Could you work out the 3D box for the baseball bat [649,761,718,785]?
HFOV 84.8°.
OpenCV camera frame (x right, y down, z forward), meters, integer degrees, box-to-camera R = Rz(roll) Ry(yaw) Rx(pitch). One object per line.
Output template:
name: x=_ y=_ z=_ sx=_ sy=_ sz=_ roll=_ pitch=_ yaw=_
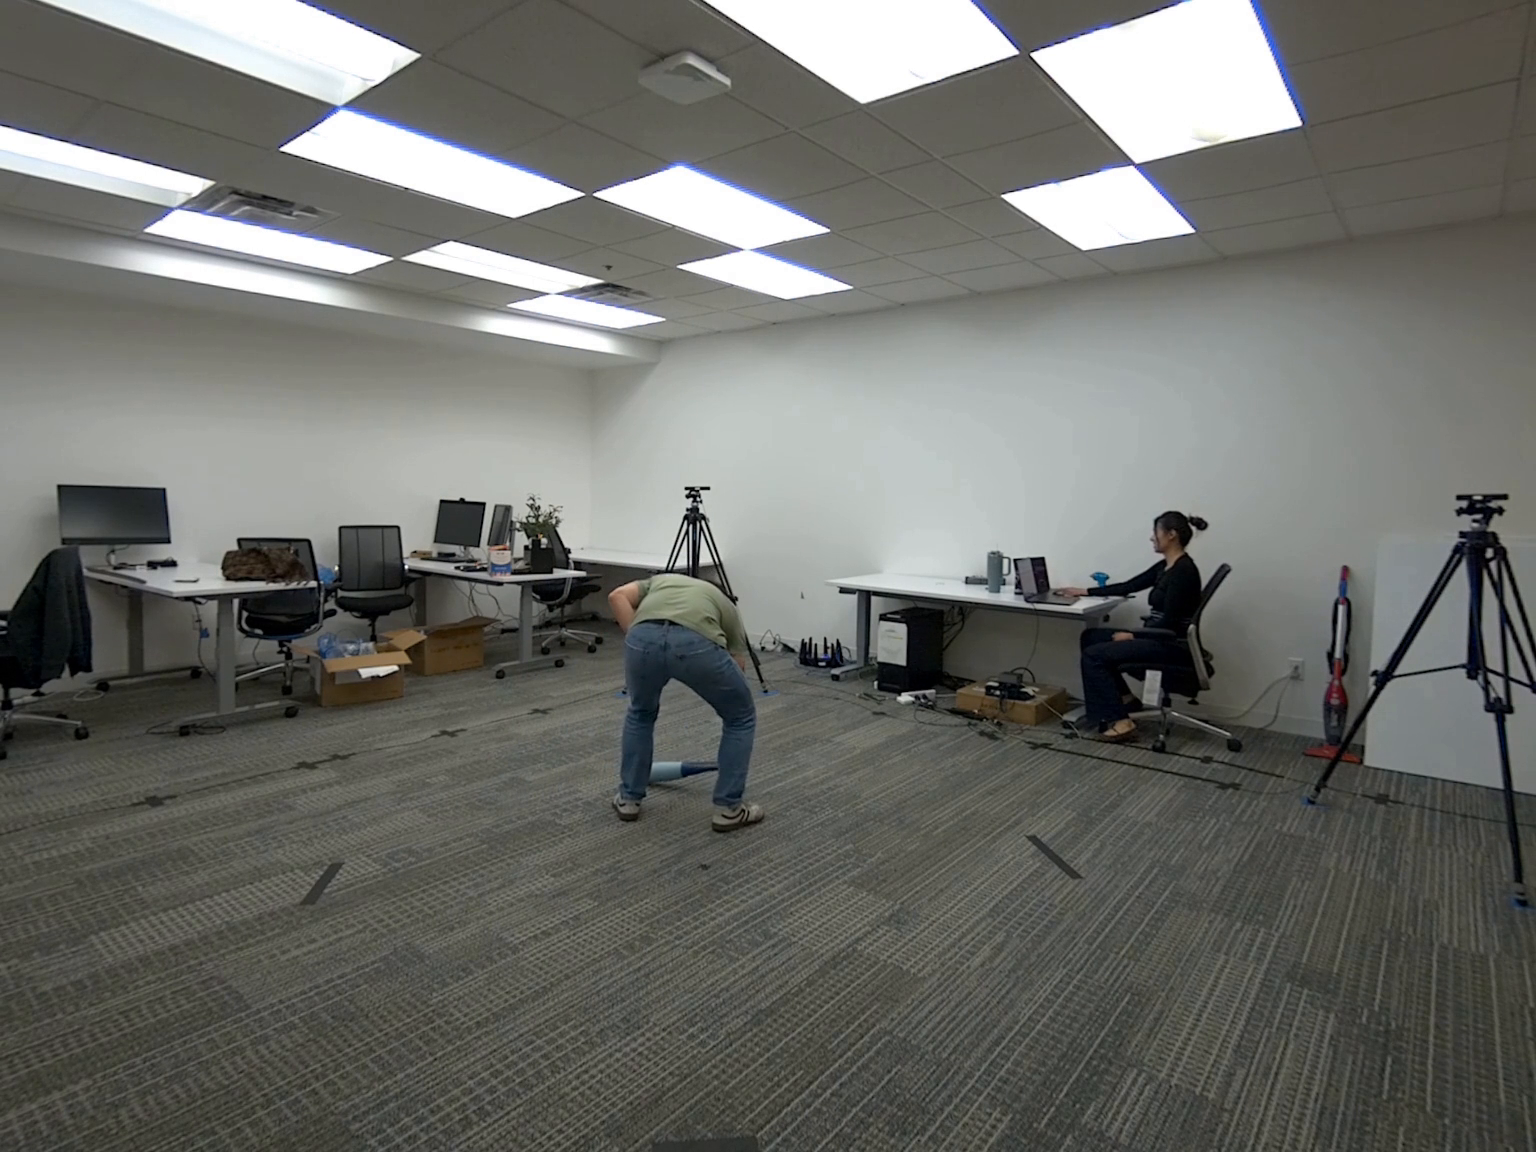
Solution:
baseball bat: x=-0.394 y=0.893 z=3.936 sx=0.550 sy=0.089 sz=0.088 roll=-8 pitch=2 yaw=14
